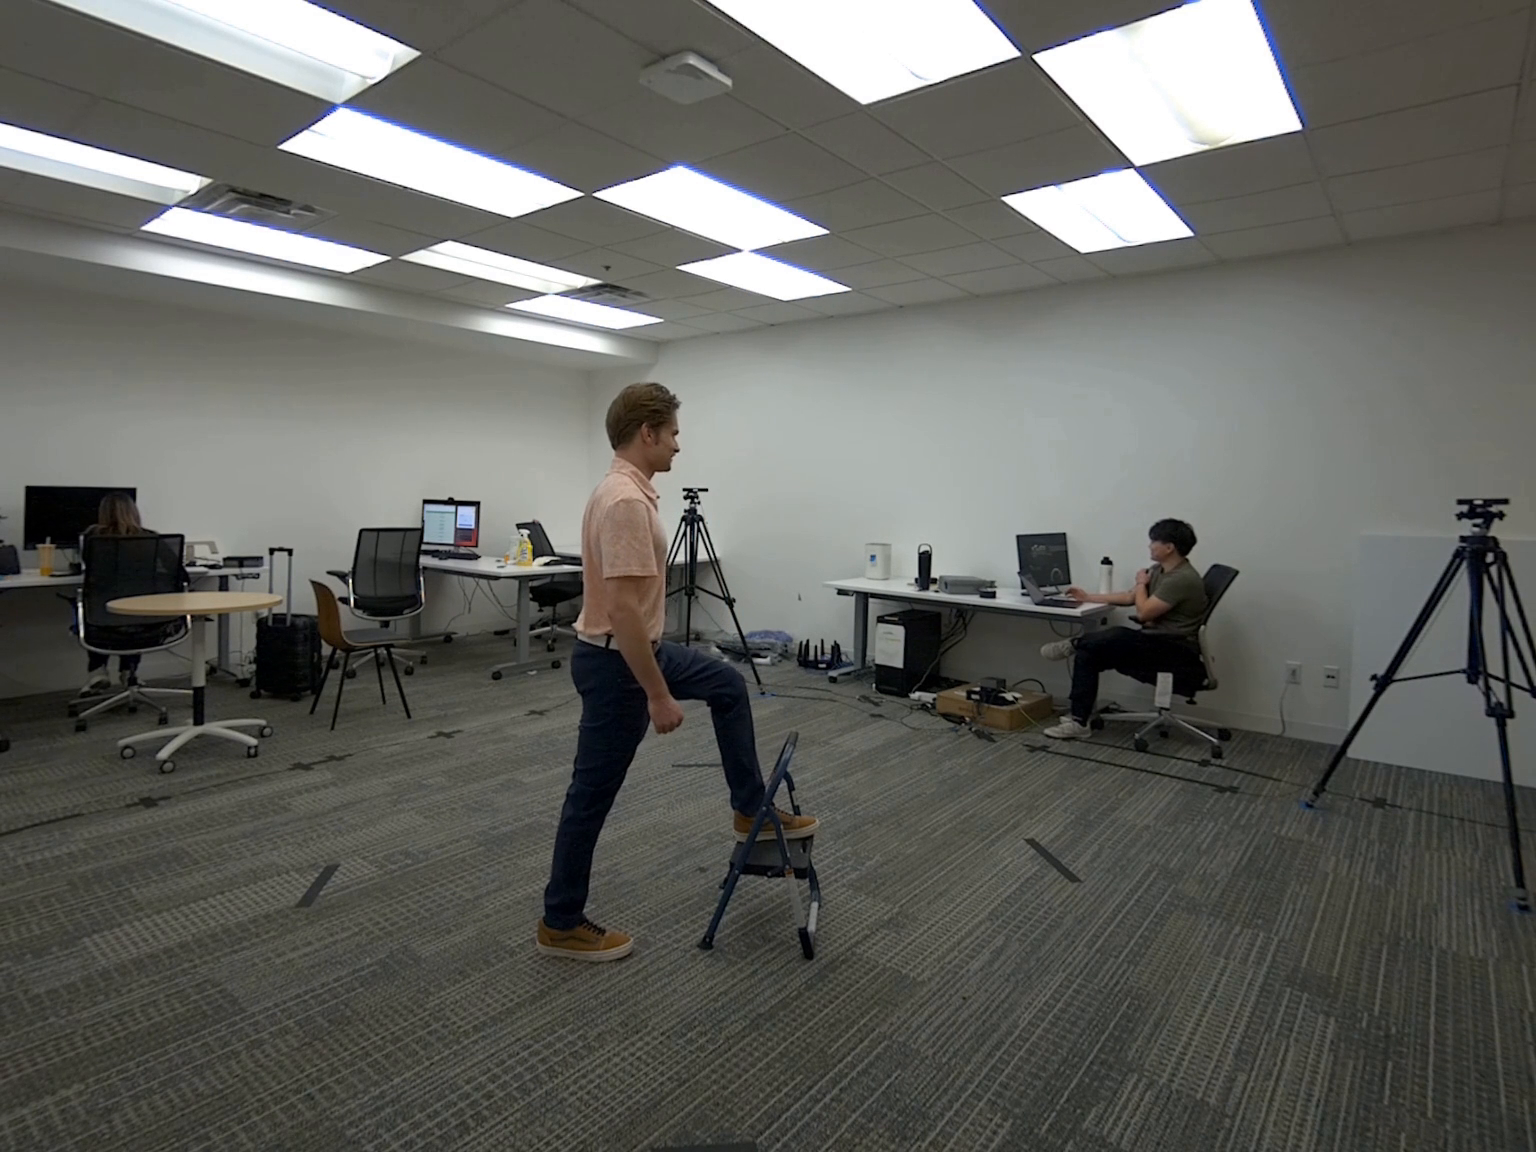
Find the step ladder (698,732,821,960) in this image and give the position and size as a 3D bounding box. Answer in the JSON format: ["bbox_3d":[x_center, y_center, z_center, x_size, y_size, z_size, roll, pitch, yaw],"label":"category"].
[{"bbox_3d":[-0.012,0.808,2.731,0.352,0.604,0.428,2,4,7],"label":"step ladder"}]
